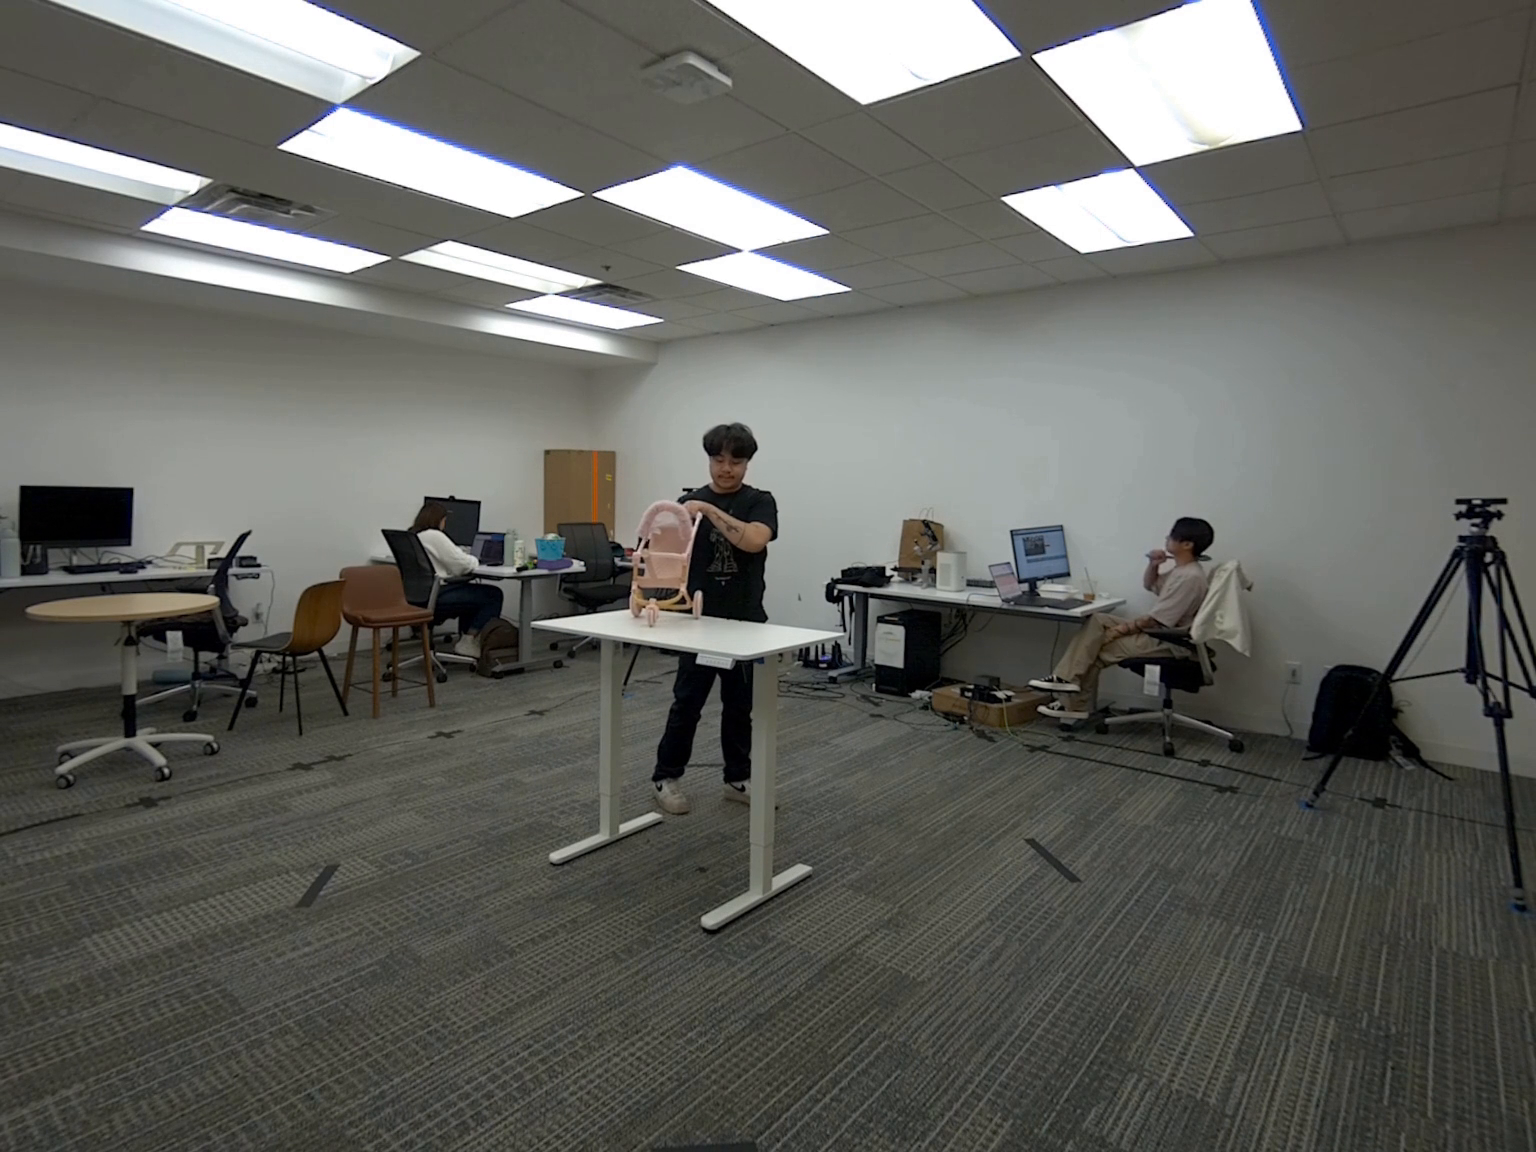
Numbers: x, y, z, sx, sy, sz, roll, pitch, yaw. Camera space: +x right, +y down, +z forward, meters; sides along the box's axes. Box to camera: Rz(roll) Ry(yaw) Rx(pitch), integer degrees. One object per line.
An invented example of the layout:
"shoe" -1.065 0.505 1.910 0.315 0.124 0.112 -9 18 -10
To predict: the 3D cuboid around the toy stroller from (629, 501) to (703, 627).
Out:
"toy stroller" -0.411 -0.055 3.288 0.285 0.541 0.333 1 -12 11
